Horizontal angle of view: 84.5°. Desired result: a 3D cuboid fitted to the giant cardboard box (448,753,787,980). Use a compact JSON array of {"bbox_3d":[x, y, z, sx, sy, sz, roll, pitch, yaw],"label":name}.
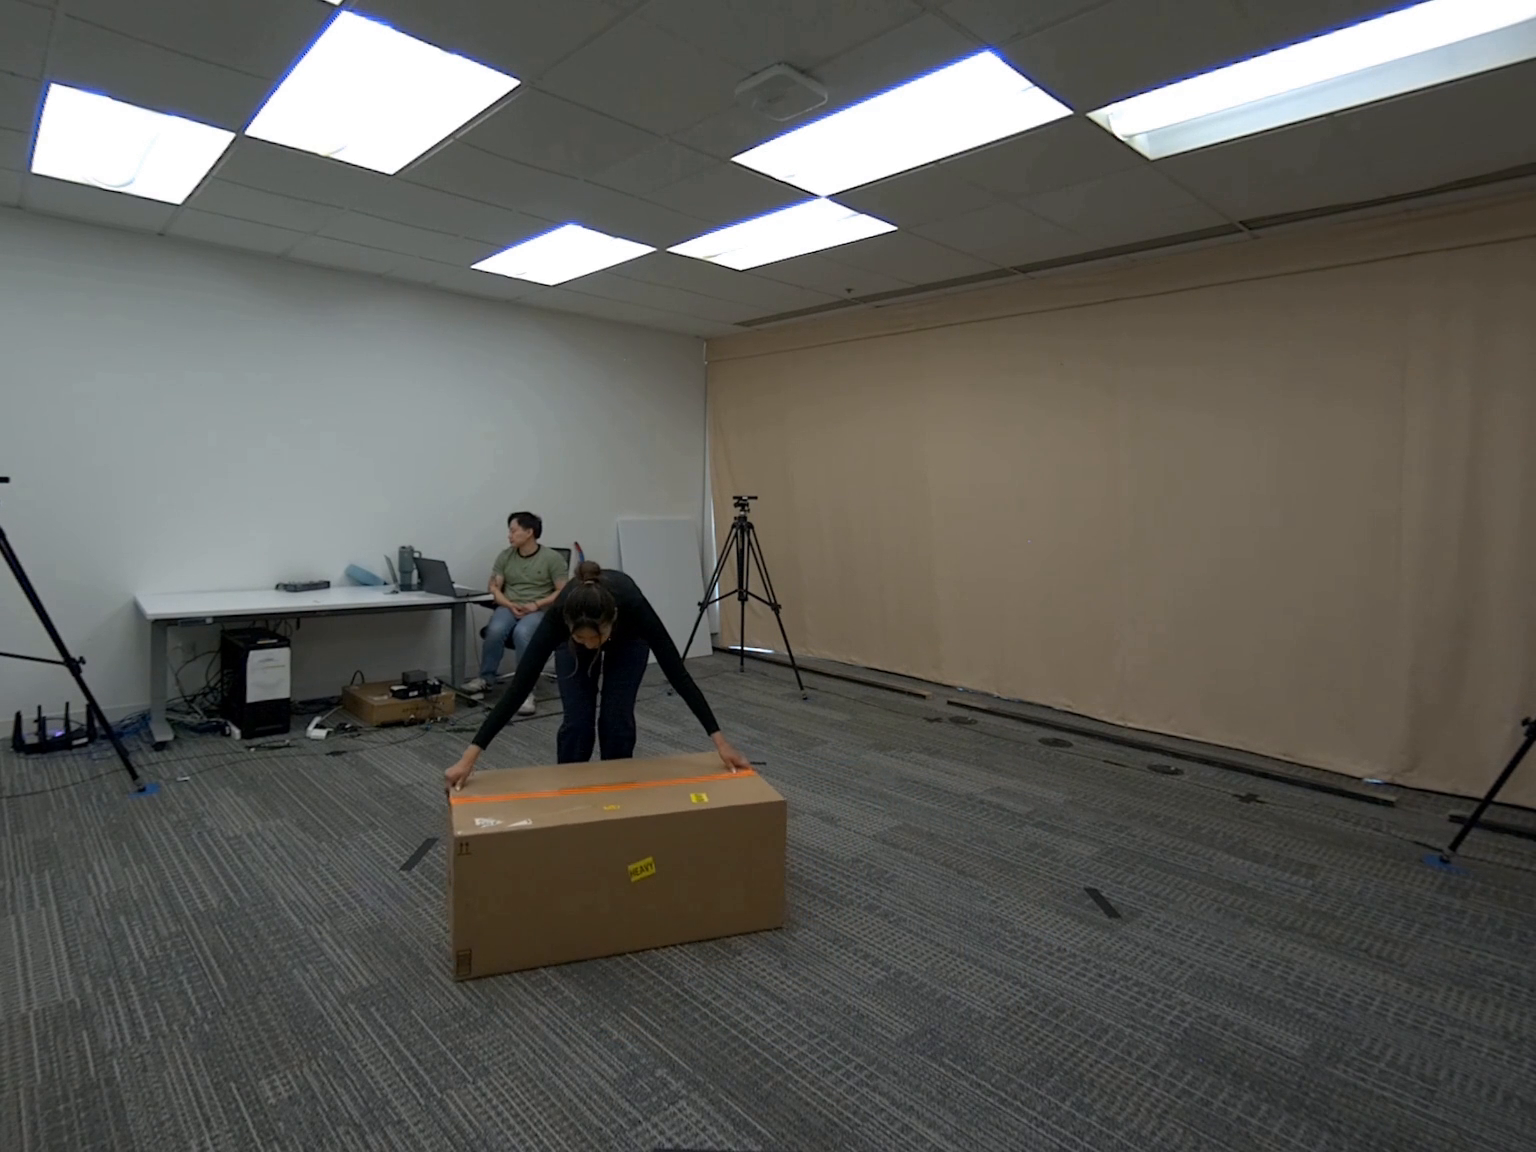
[{"bbox_3d":[-0.527,0.906,2.805,1.010,0.425,0.588,-1,5,-21],"label":"giant cardboard box"}]
